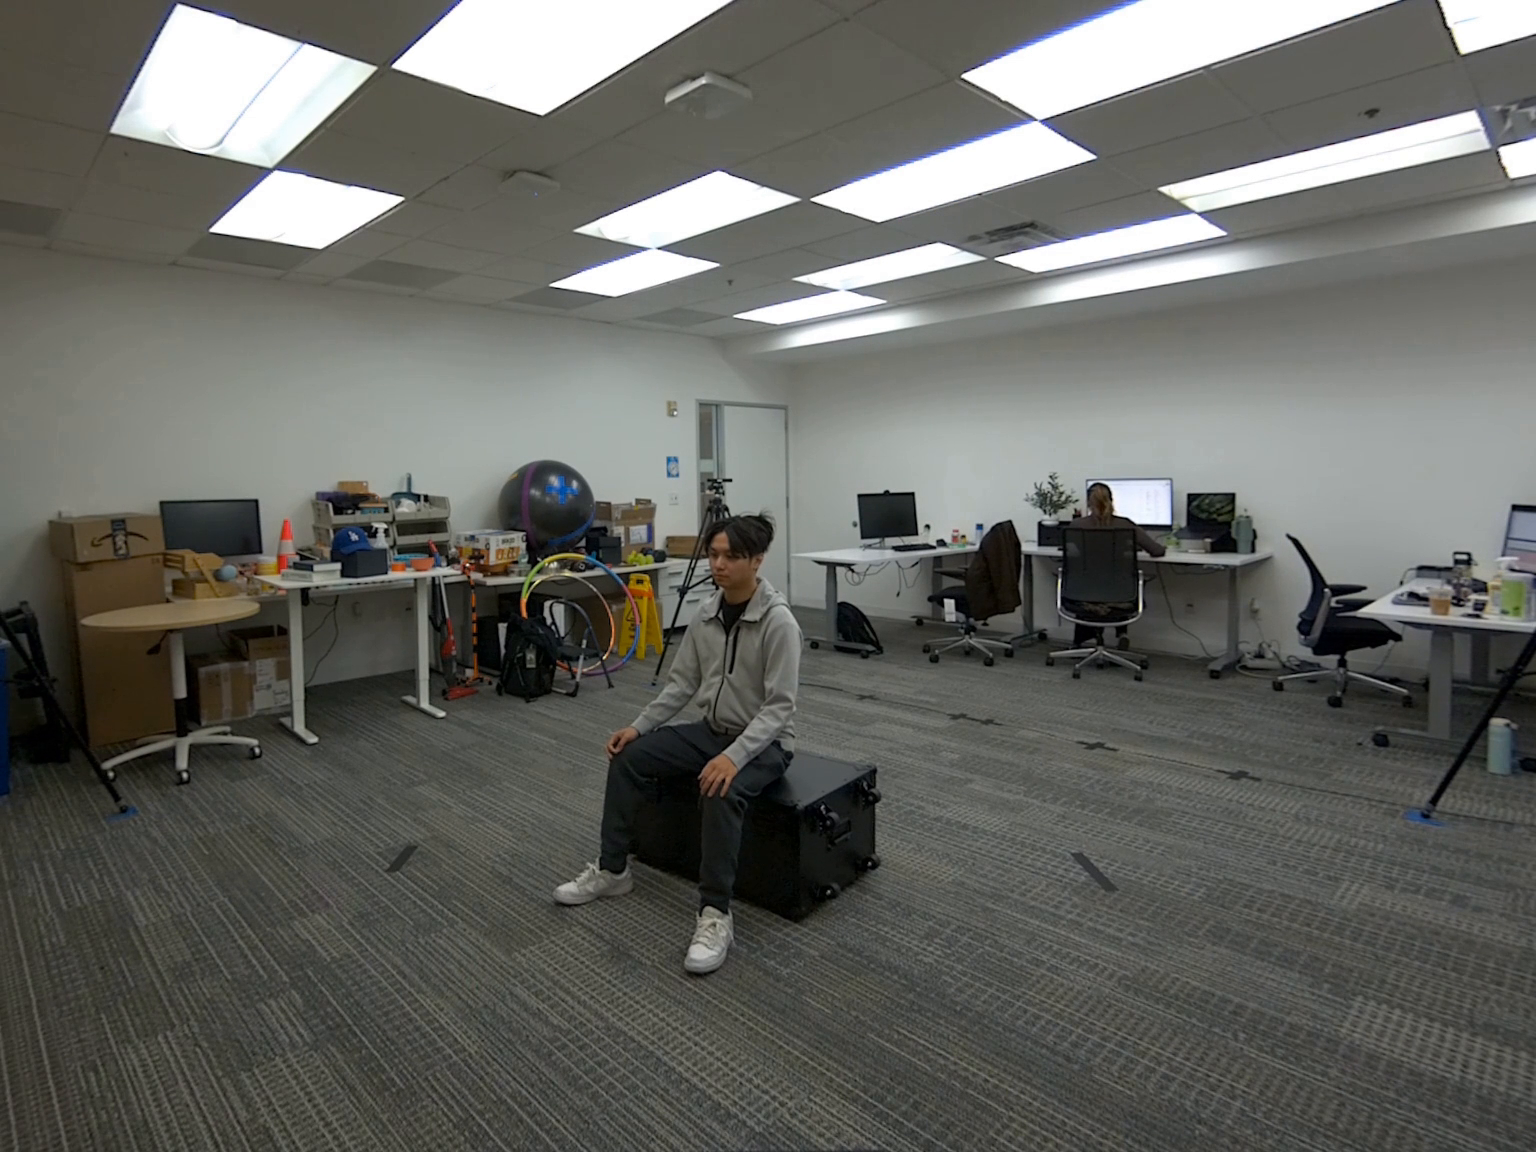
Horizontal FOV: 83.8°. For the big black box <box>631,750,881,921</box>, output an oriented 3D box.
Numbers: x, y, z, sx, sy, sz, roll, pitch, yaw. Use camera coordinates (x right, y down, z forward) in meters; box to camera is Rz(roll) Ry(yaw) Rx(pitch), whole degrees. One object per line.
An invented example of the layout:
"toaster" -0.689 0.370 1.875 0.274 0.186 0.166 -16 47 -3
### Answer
"big black box" -0.091 0.860 3.114 0.887 0.395 0.508 4 7 38
